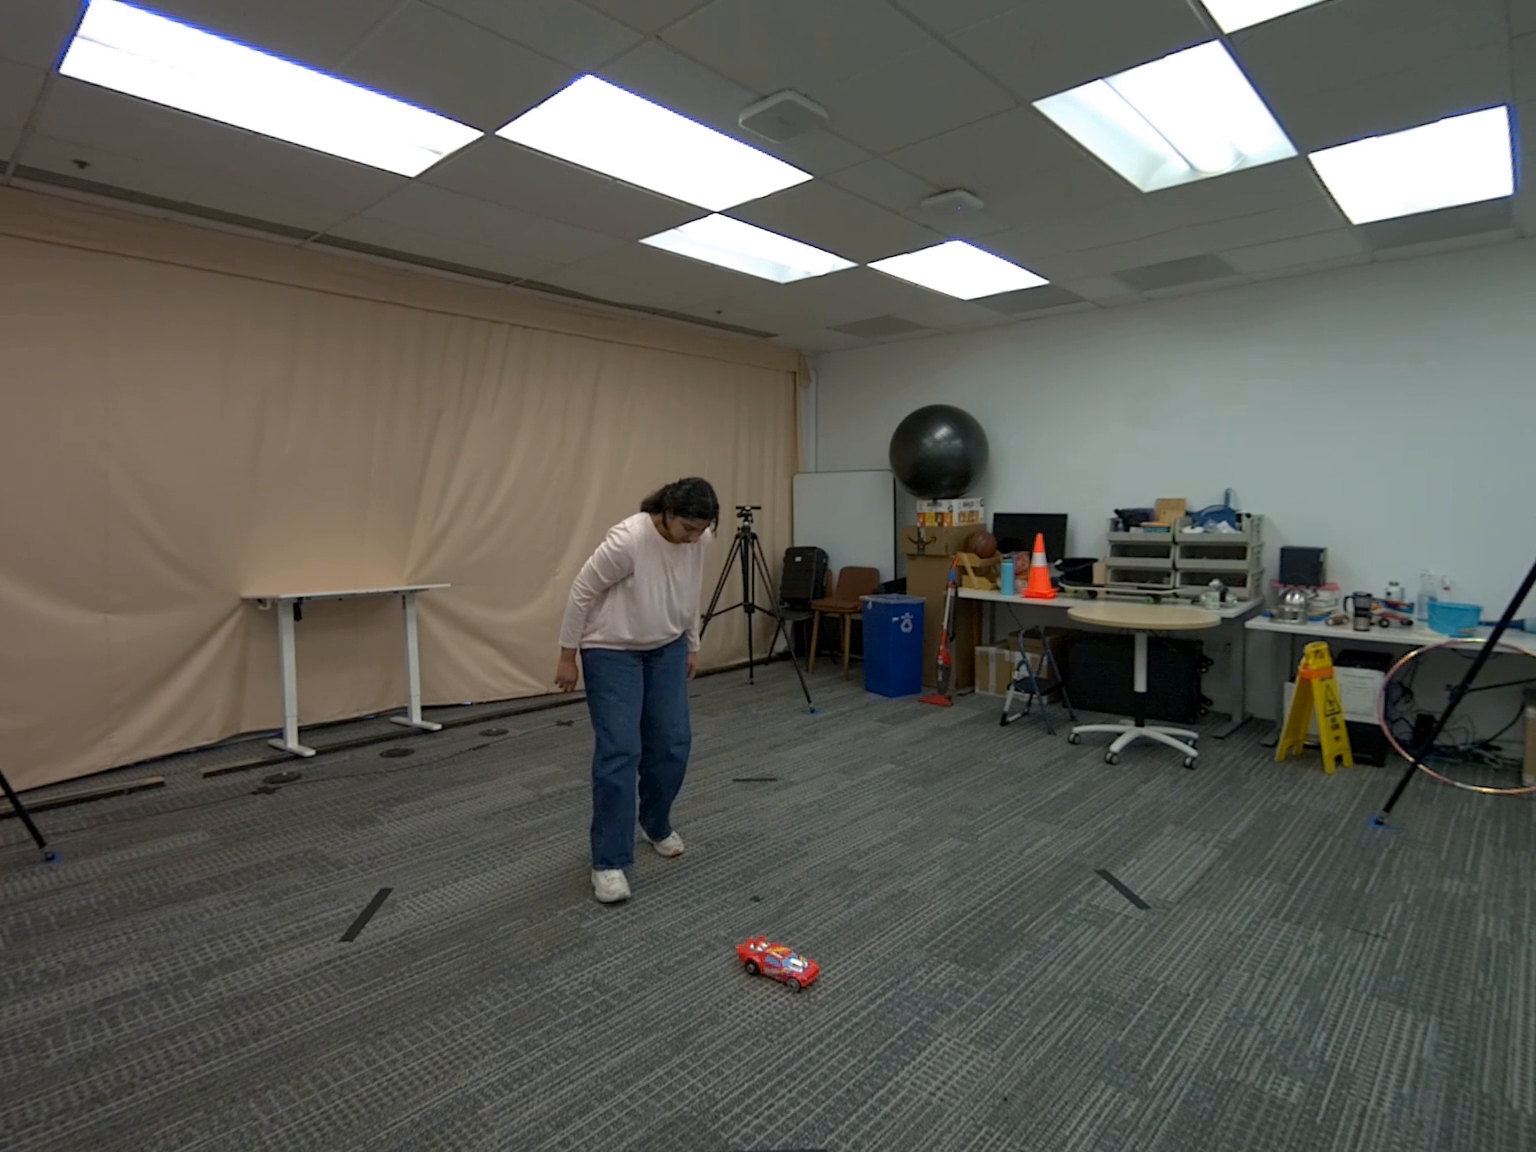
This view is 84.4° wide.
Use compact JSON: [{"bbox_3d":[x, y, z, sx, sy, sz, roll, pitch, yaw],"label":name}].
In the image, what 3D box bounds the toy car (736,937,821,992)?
[{"bbox_3d":[0.029,1.152,2.504,0.263,0.083,0.126,16,13,35],"label":"toy car"}]
